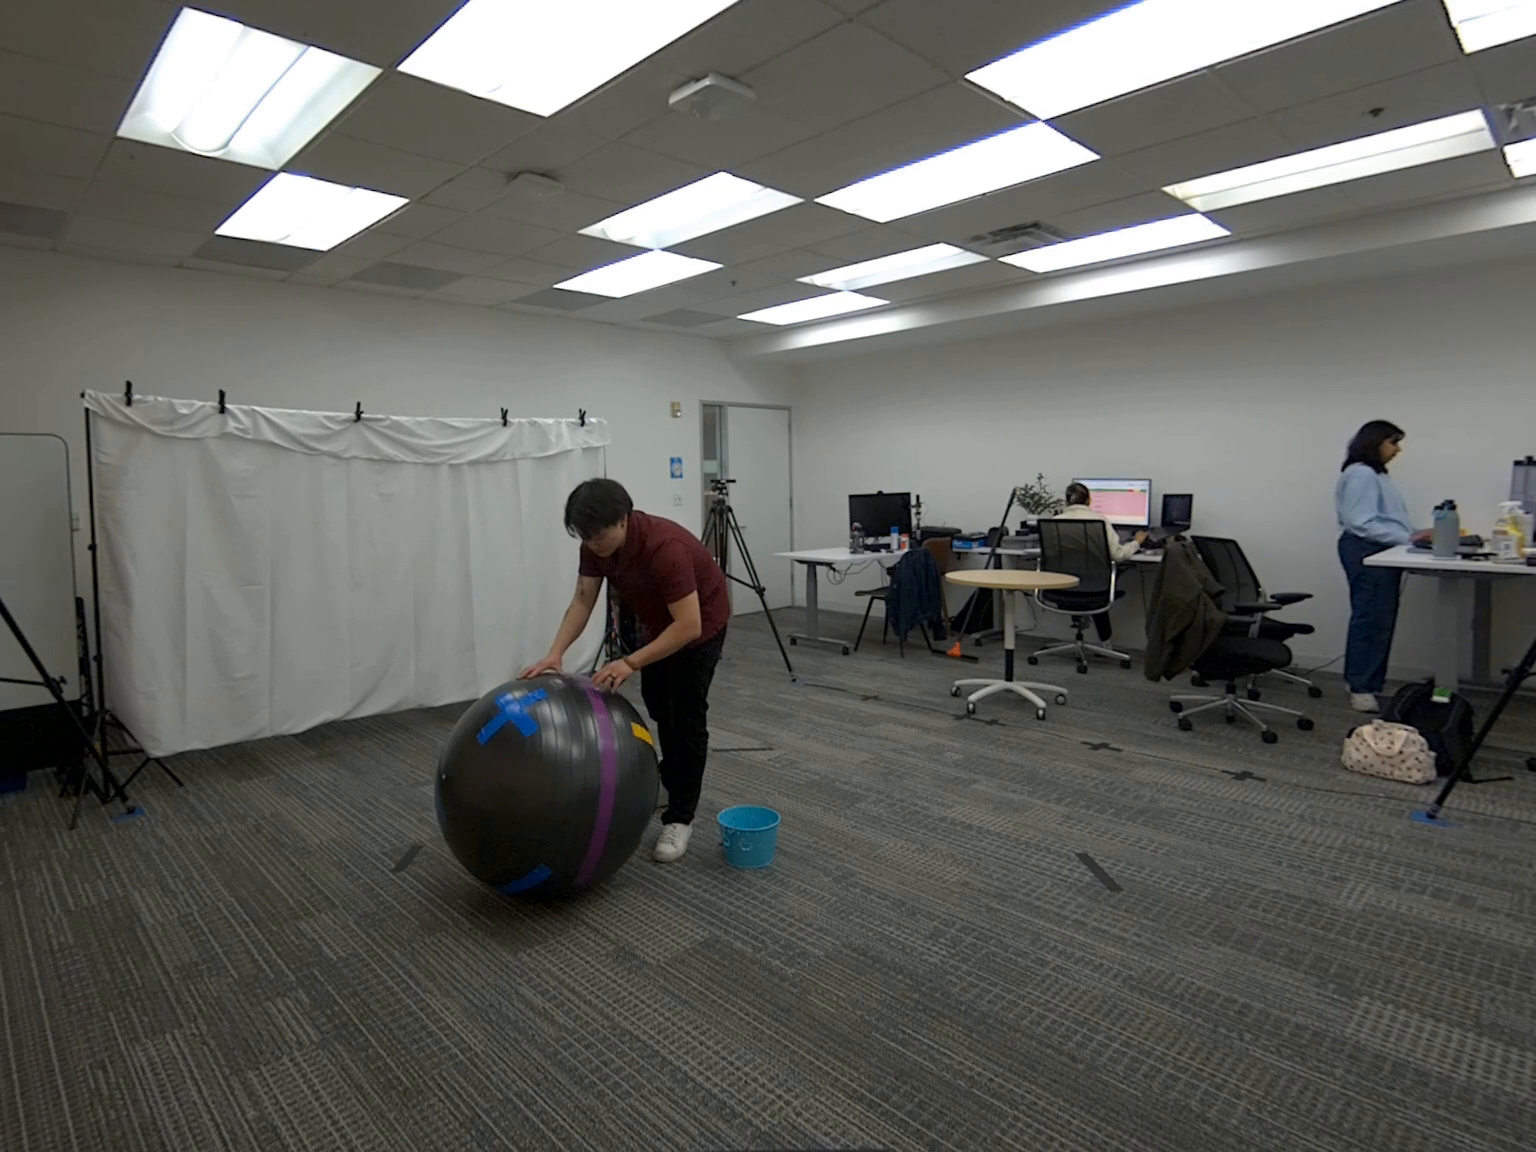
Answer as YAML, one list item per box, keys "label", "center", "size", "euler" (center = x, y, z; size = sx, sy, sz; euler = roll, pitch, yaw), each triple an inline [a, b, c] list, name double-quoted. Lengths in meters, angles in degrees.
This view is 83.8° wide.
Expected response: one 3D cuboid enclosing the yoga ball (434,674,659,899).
- label: "yoga ball"
  center: [-0.765, 0.718, 2.954]
  size: [0.757, 0.755, 0.762]
  euler: [-1, 5, -2]
